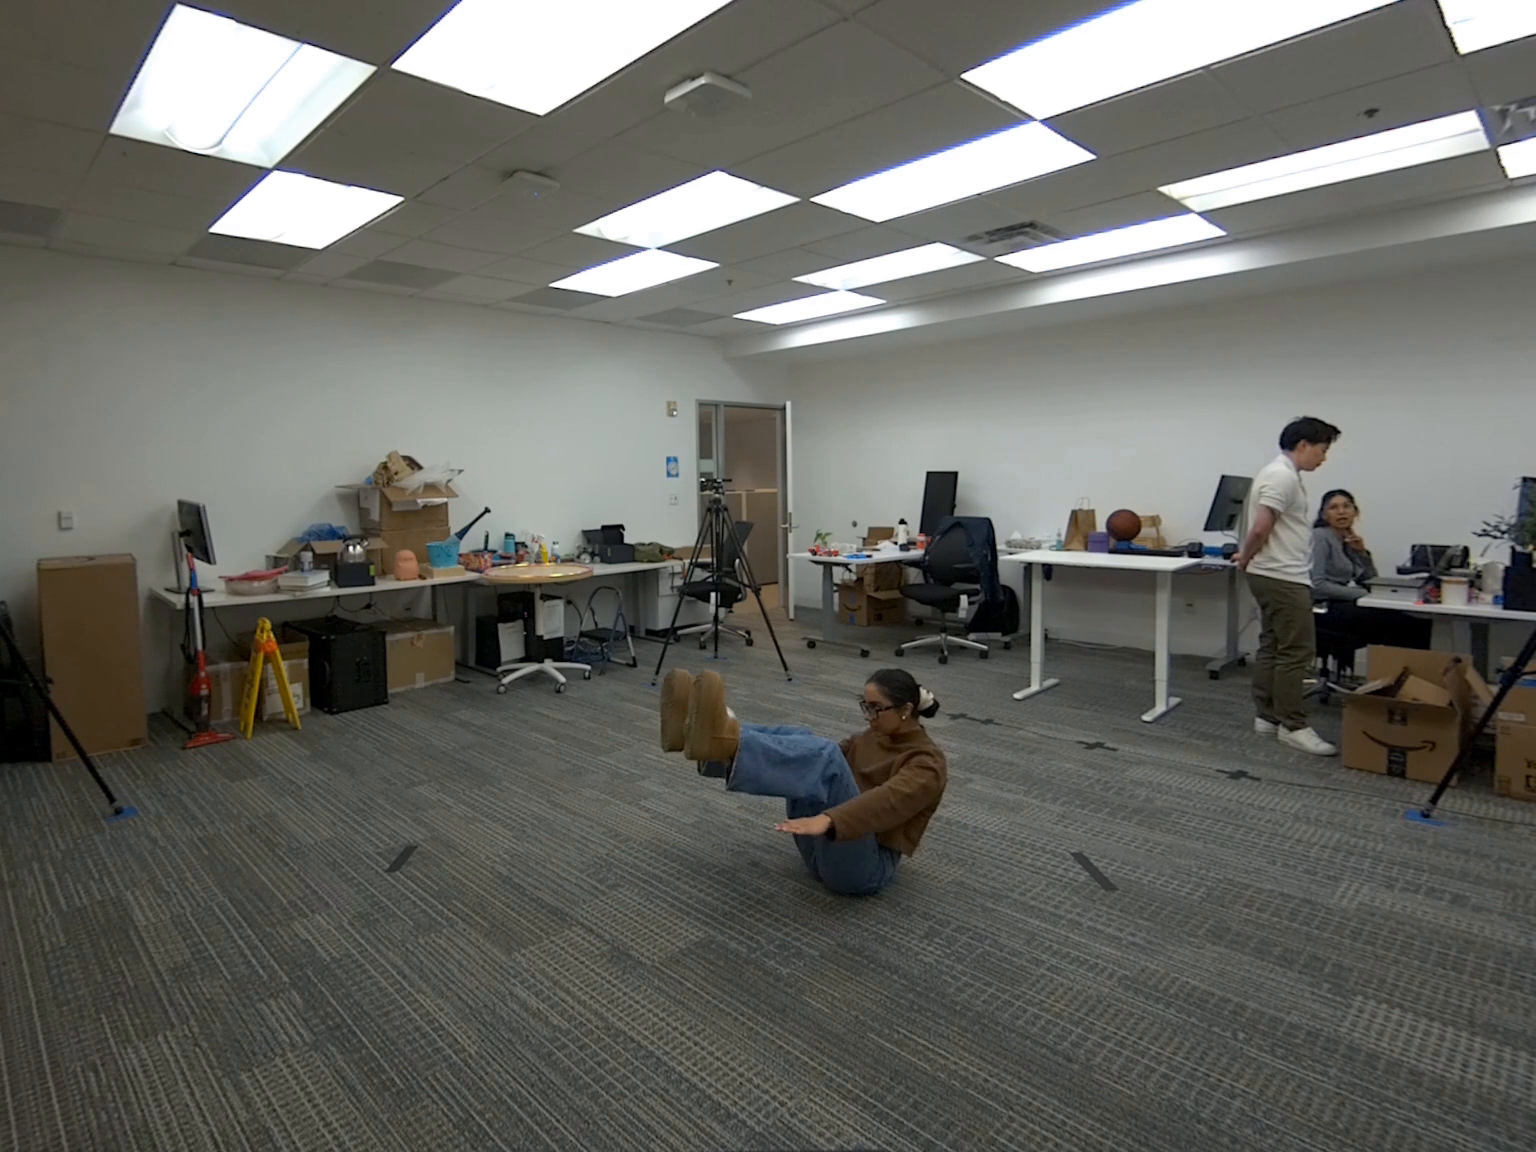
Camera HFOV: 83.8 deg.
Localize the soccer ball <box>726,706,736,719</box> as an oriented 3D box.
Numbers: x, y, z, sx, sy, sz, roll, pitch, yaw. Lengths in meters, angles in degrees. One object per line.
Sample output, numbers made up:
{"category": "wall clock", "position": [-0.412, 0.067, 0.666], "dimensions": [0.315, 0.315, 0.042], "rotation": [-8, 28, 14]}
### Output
{"category": "soccer ball", "position": [-0.184, 0.521, 2.775], "dimensions": [0.187, 0.187, 0.188], "rotation": [-1, 5, -2]}
